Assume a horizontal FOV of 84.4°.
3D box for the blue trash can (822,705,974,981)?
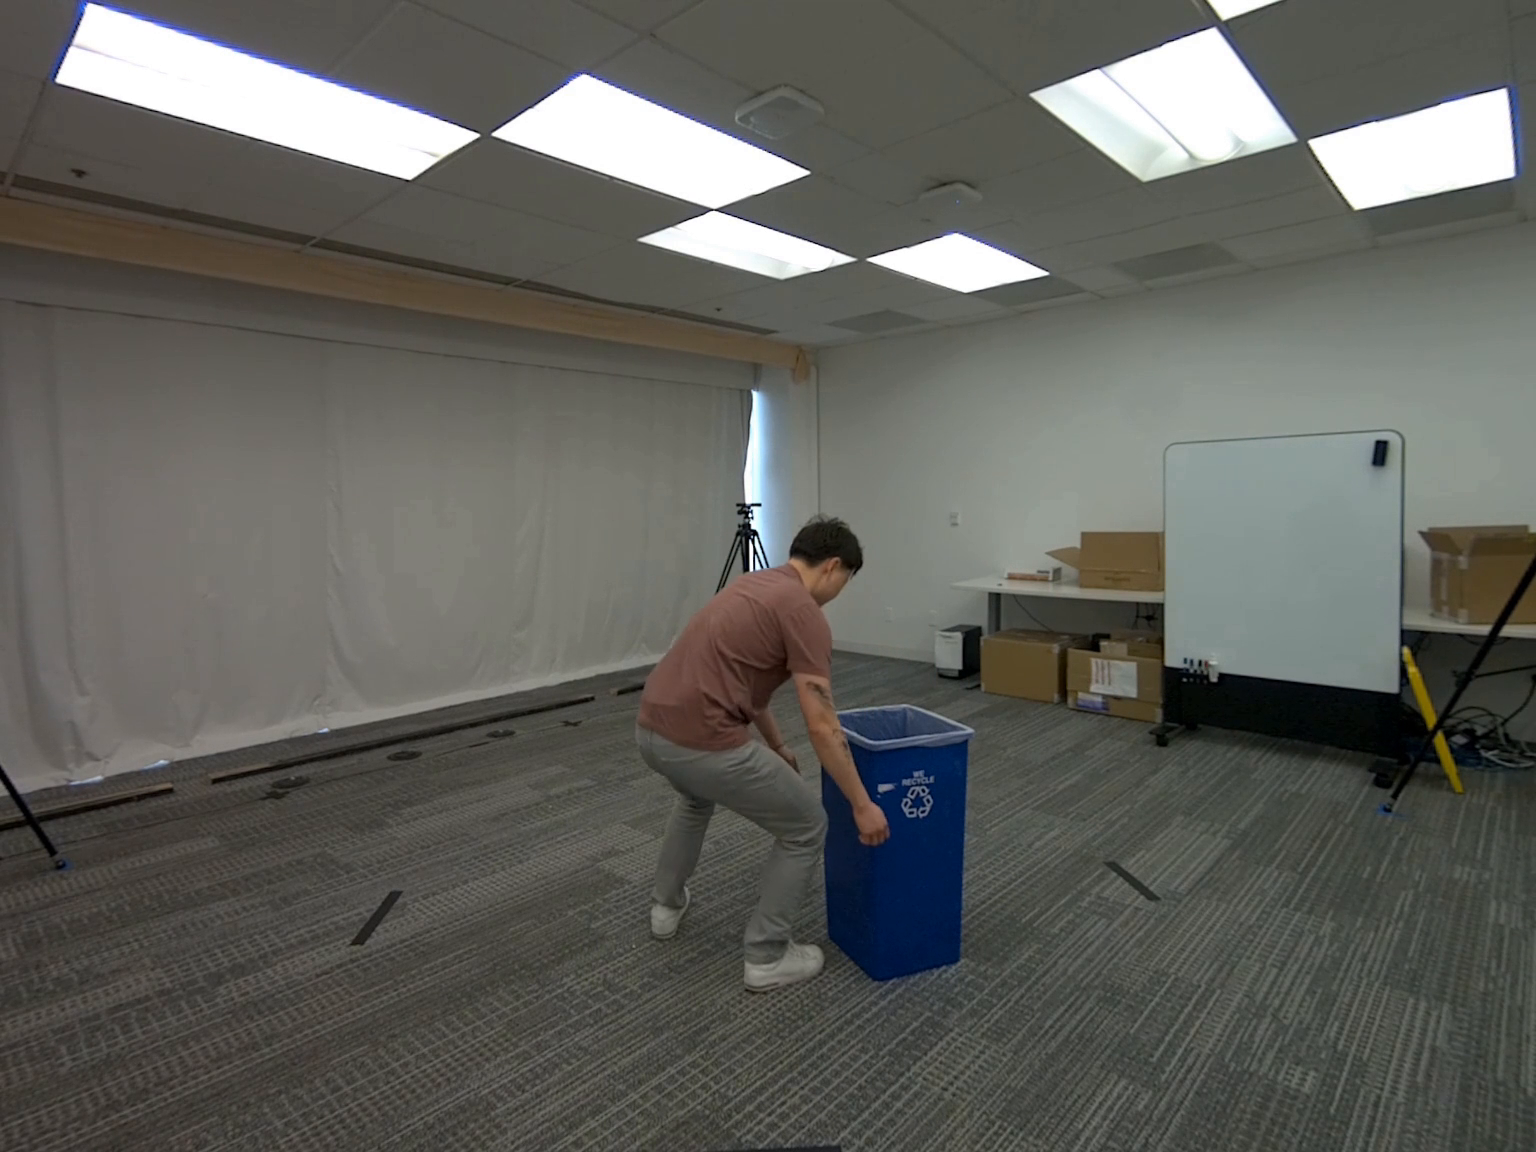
[{"bbox_3d":[0.390,0.802,2.607,0.366,0.712,0.387,-2,4,-23],"label":"blue trash can"}]
